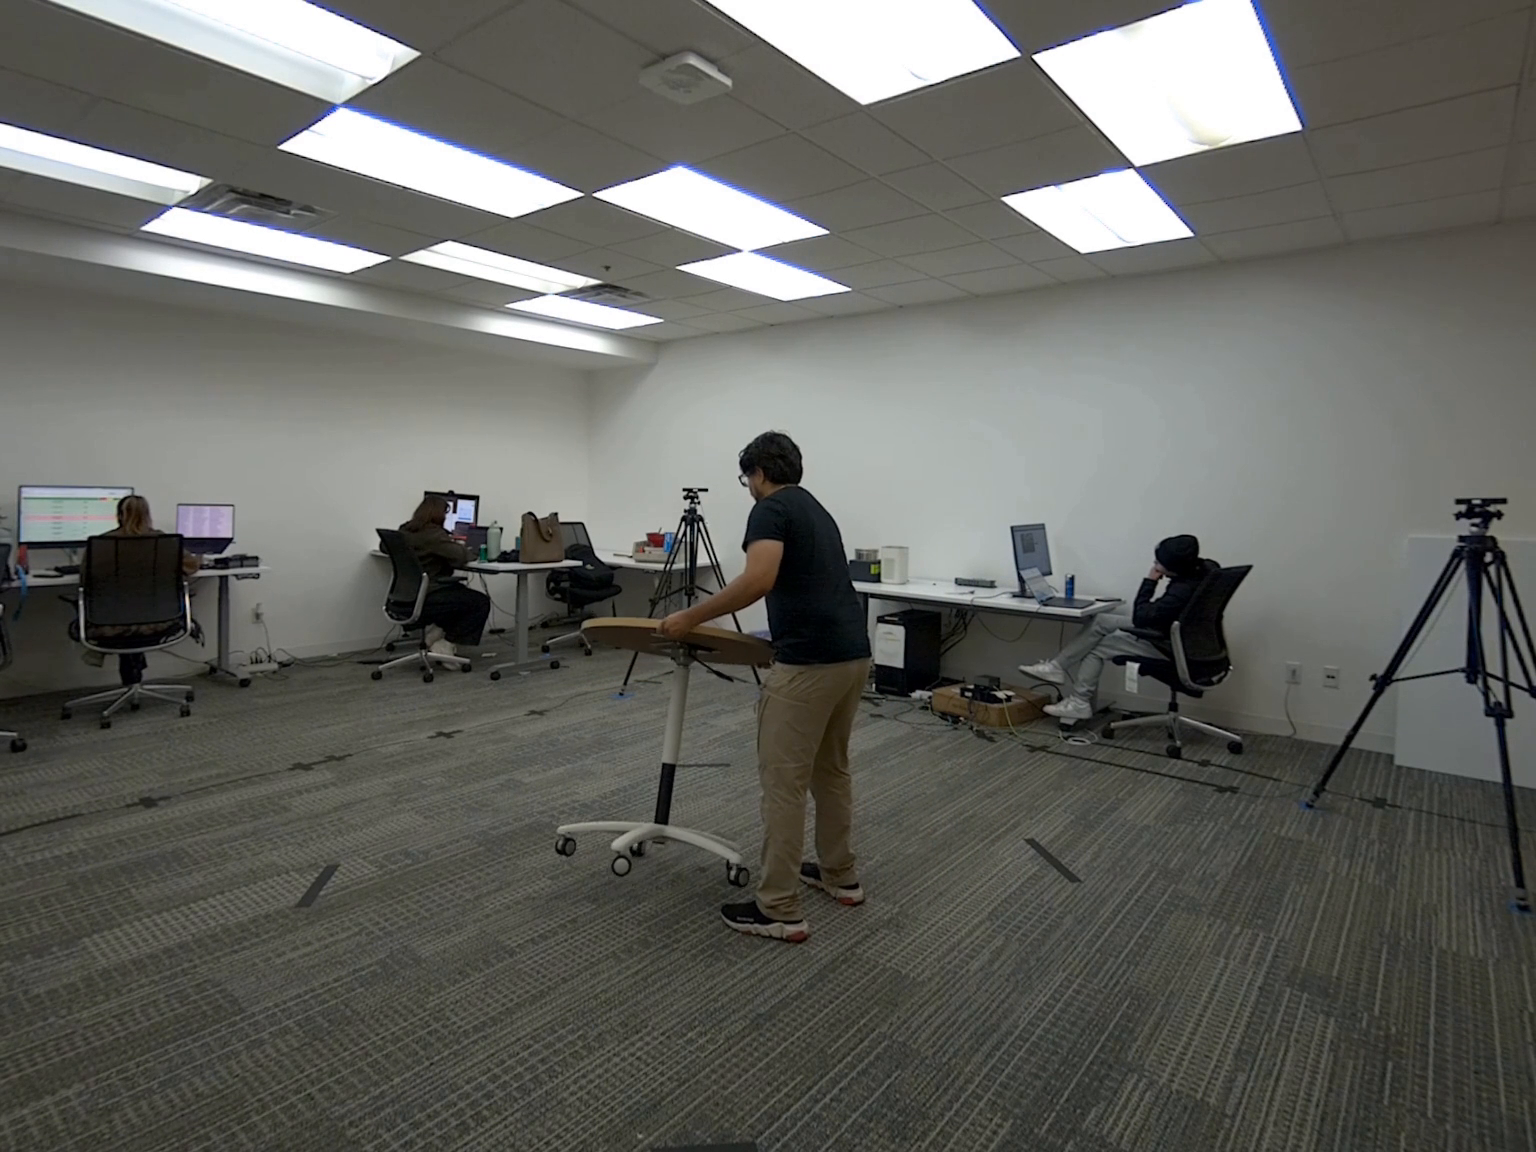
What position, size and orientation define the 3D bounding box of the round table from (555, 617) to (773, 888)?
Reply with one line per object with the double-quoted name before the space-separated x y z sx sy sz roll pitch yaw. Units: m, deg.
"round table" -0.363 0.610 2.991 0.786 0.796 0.775 6 -14 0
